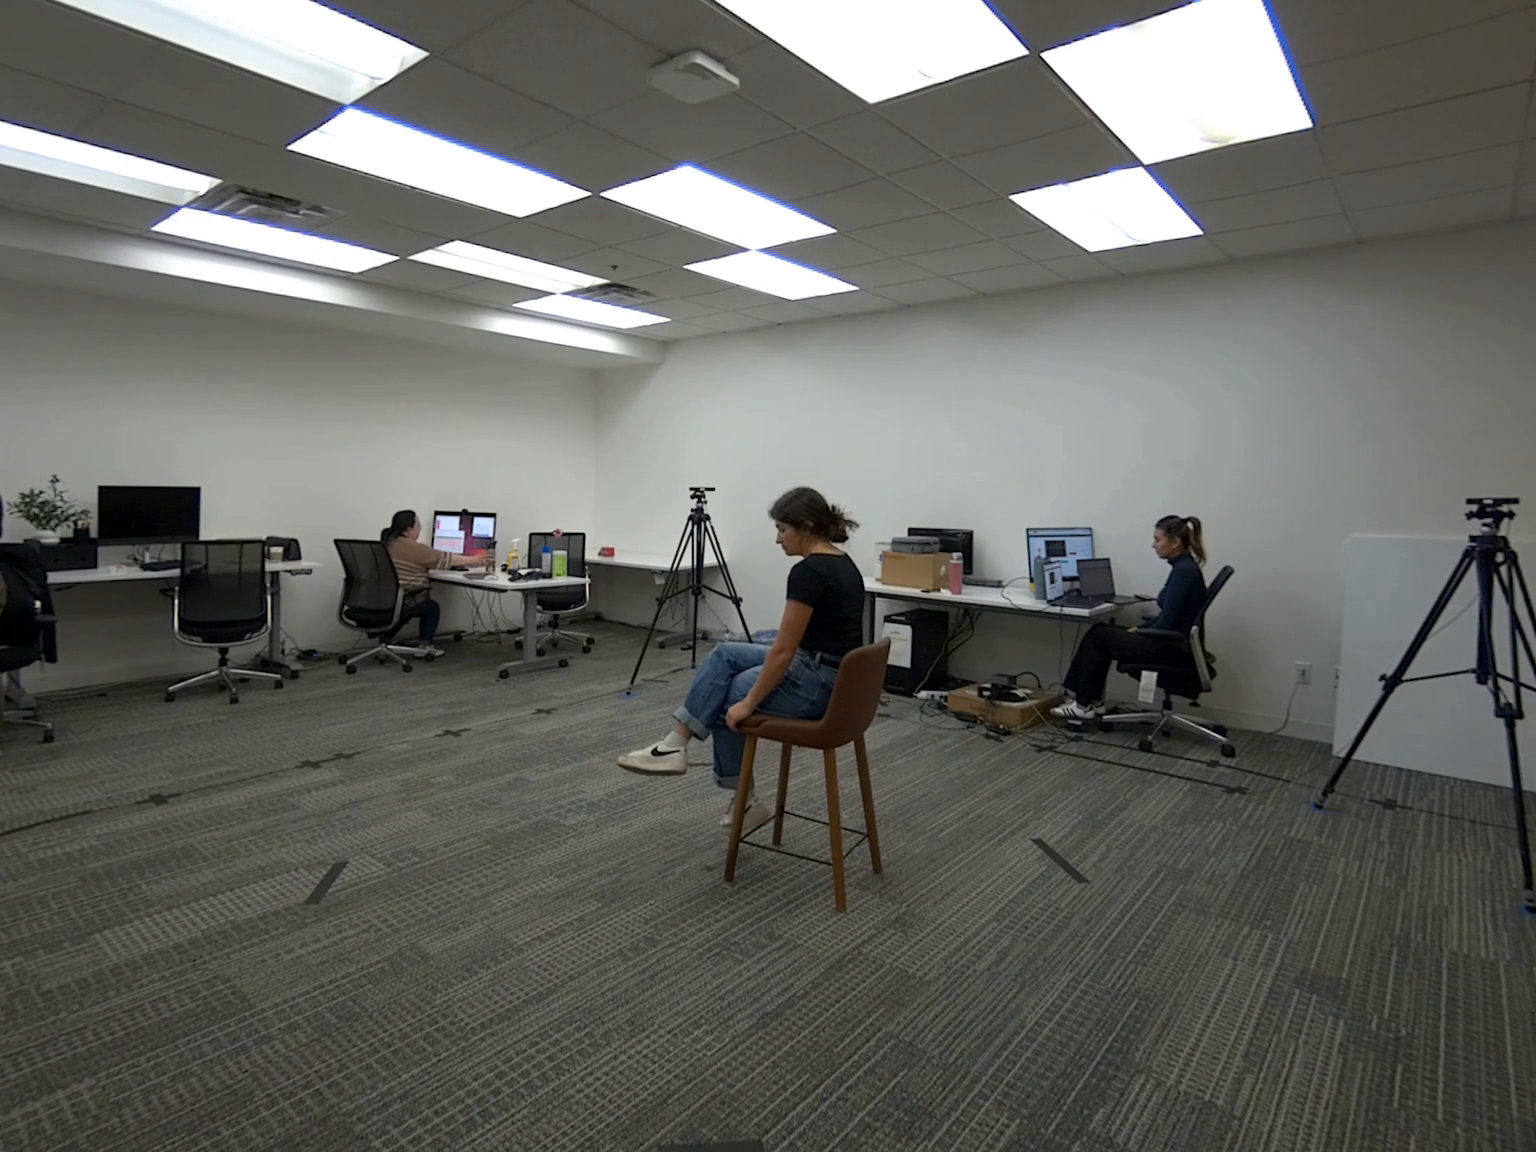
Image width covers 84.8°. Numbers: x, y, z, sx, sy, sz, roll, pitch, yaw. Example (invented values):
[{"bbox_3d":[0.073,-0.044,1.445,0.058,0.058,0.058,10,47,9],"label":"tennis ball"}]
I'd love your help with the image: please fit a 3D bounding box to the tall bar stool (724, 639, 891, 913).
[{"bbox_3d":[0.148,0.648,3.044,0.481,0.886,0.445,5,5,29],"label":"tall bar stool"}]
